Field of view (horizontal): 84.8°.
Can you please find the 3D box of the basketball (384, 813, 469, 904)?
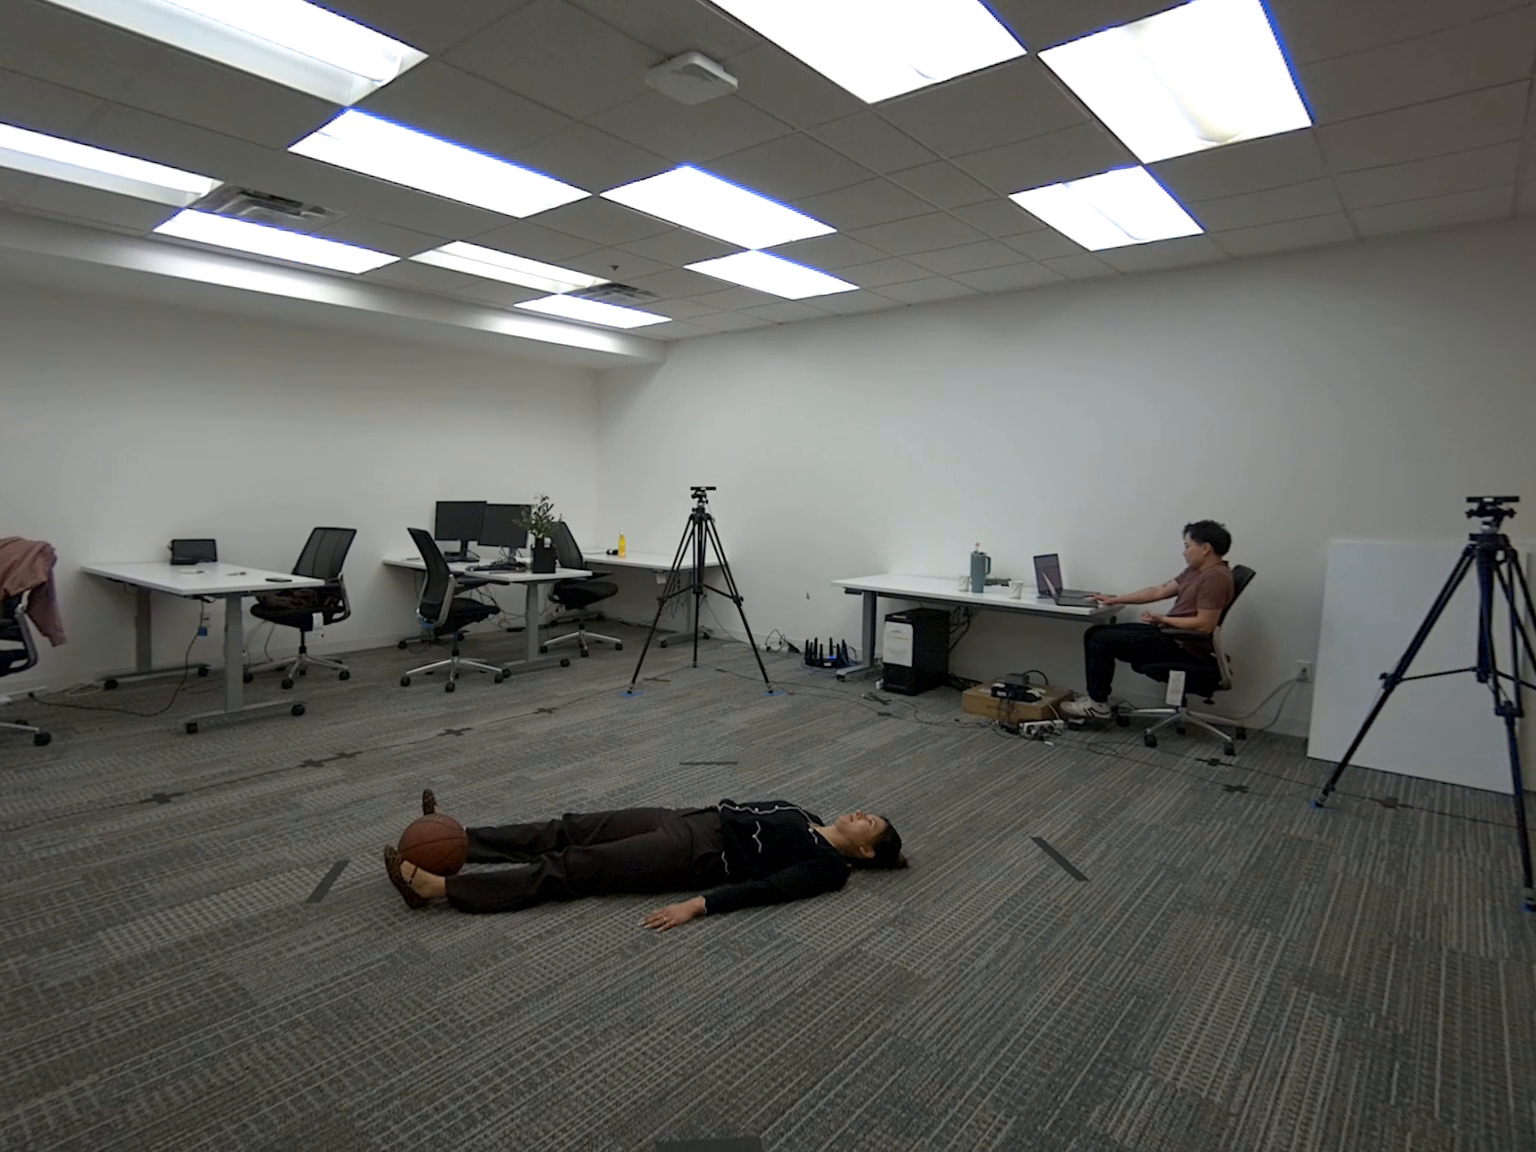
[{"bbox_3d":[-1.180,0.951,2.962,0.236,0.234,0.238,0,7,-2],"label":"basketball"}]
